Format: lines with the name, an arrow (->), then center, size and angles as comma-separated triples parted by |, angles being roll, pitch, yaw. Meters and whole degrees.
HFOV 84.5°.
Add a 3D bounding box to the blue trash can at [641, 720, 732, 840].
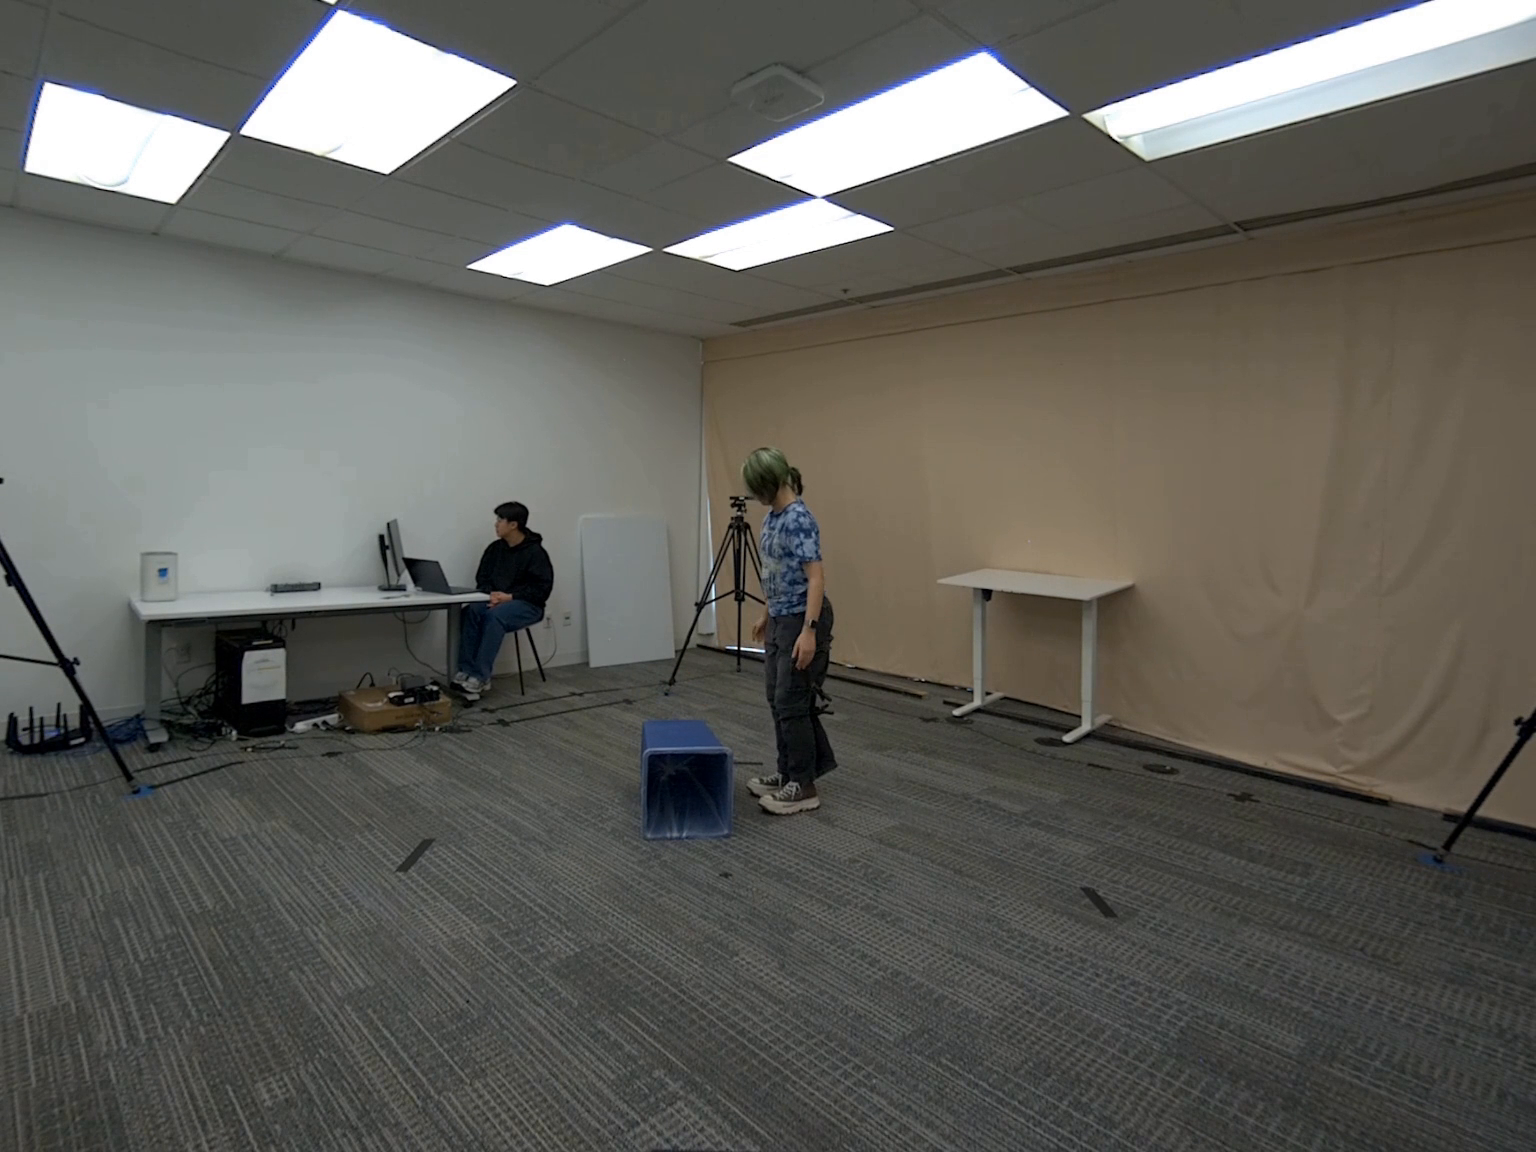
blue trash can -> -0.406, 0.863, 3.766 | 0.375, 0.373, 0.721 | 1, 3, -11
